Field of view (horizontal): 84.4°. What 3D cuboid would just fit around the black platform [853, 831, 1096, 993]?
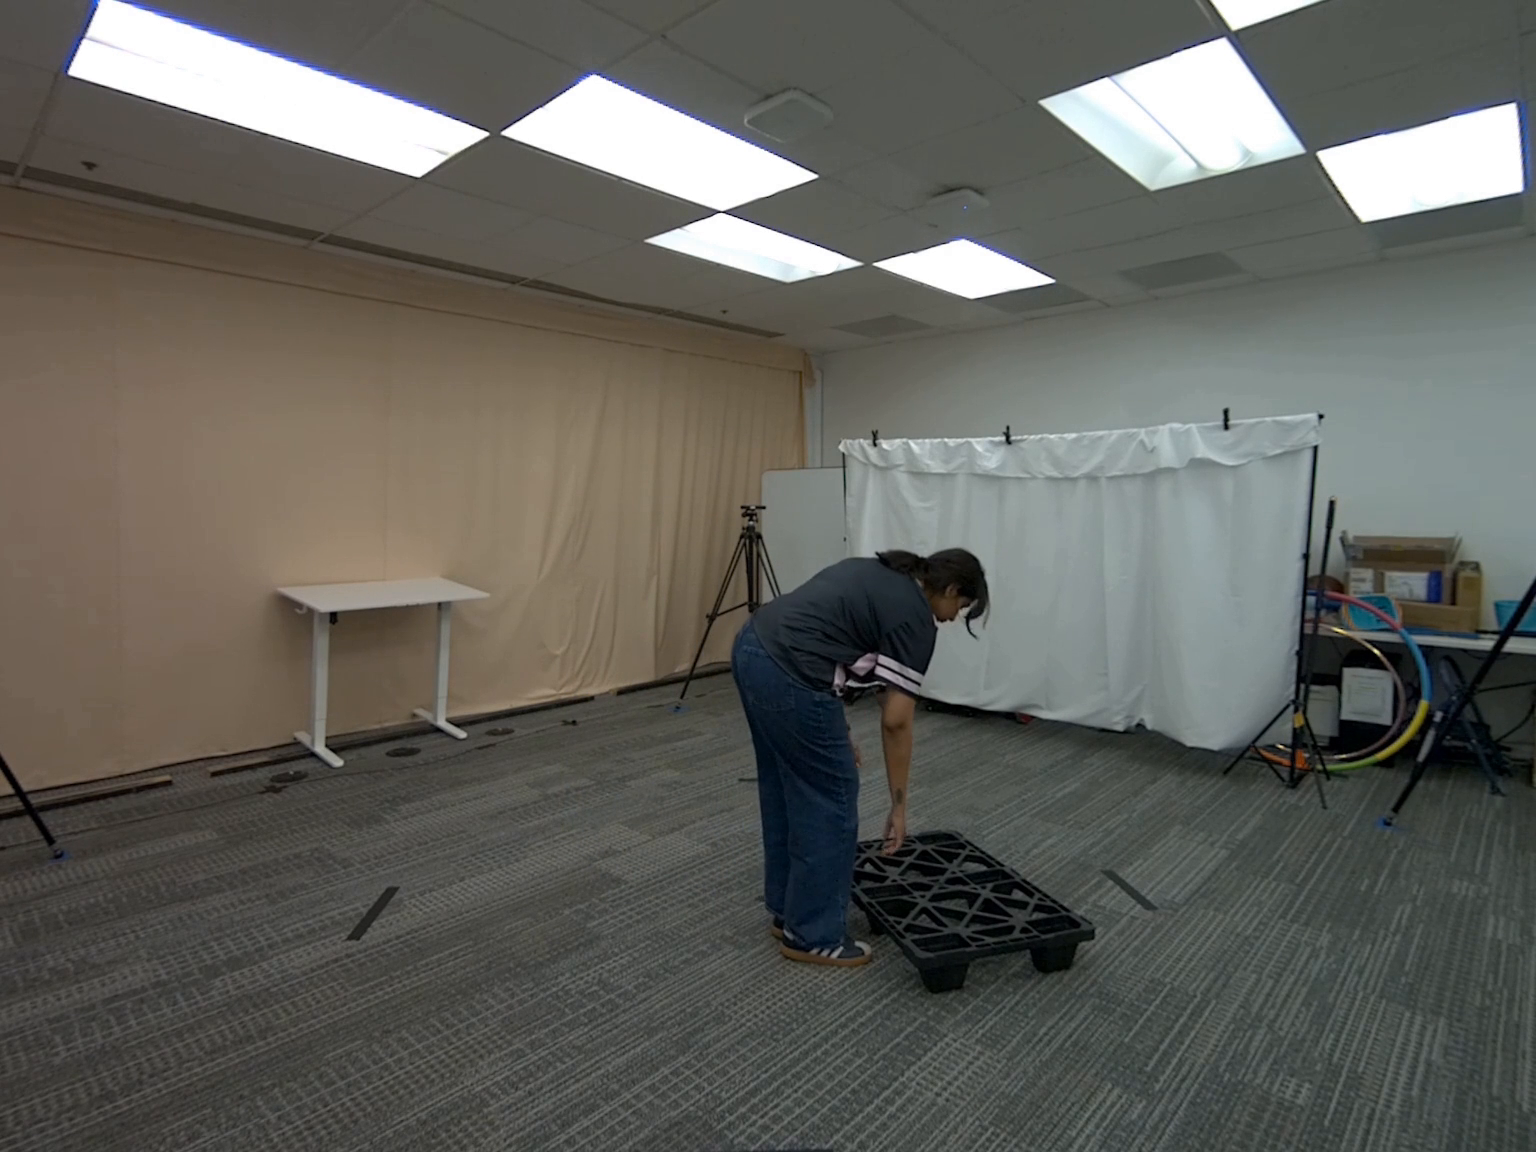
[{"bbox_3d":[0.565,1.084,2.807,0.595,0.143,0.821,-2,5,-17],"label":"black platform"}]
